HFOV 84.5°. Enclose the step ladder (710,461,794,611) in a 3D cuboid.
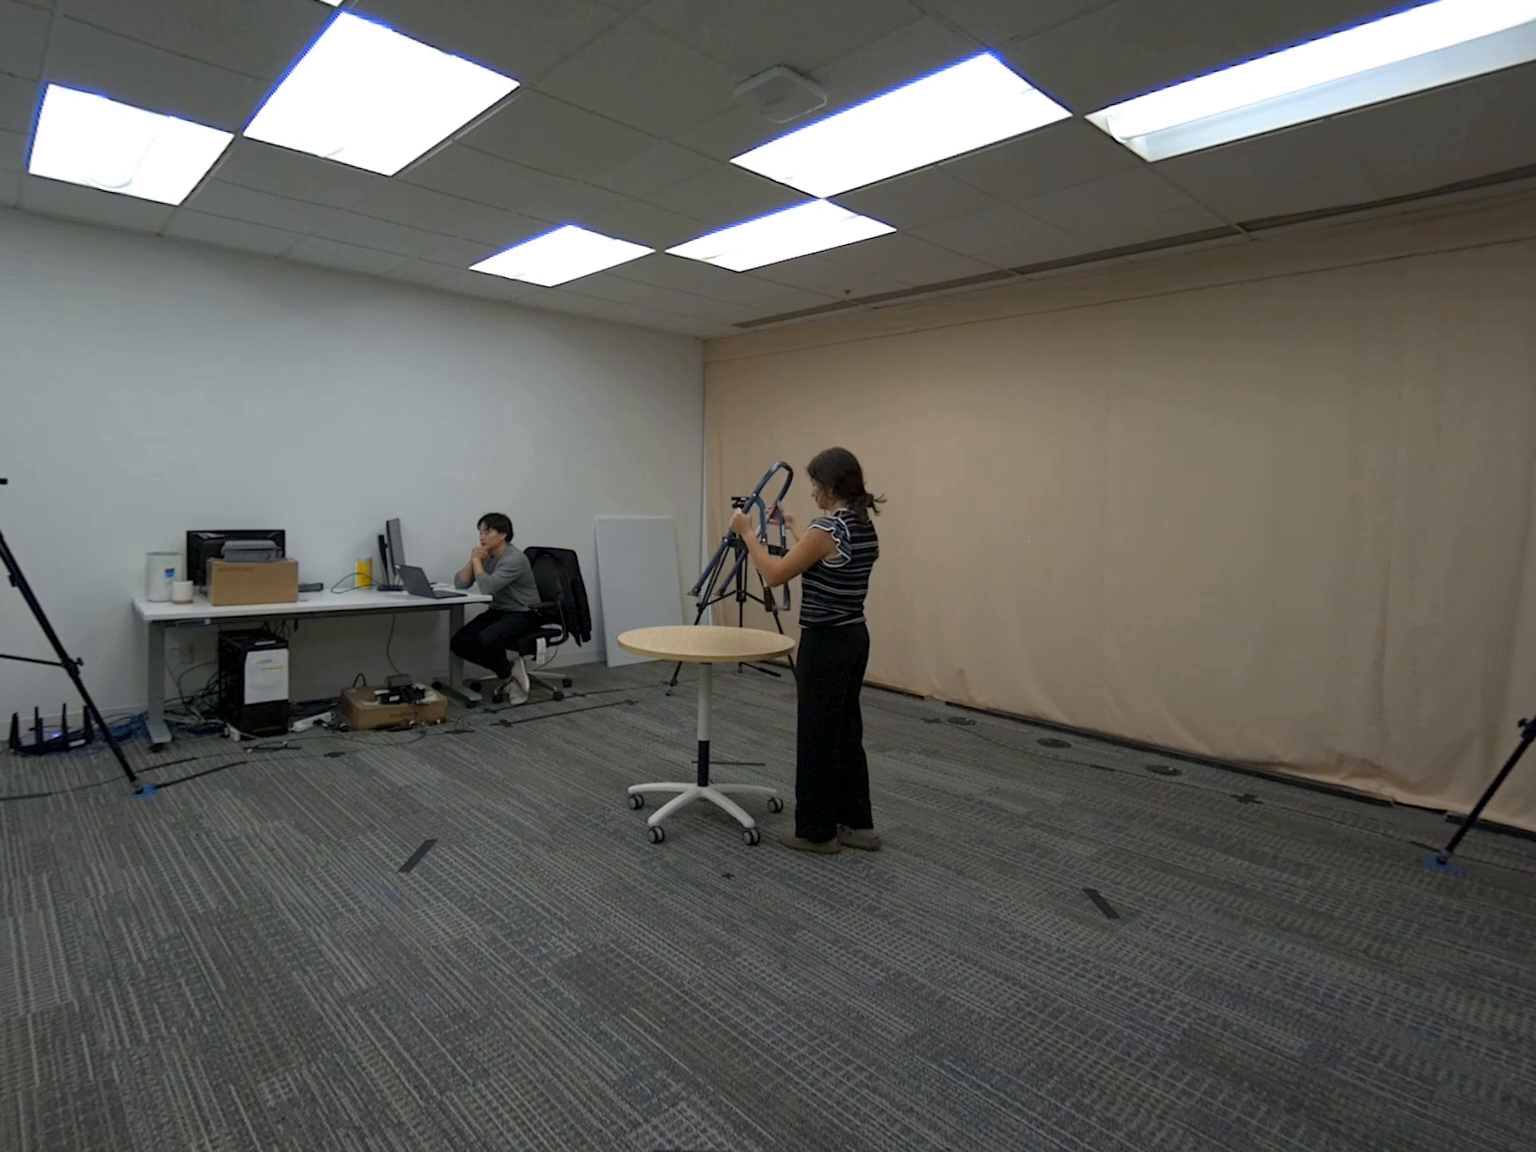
[{"bbox_3d":[-0.058,-0.175,3.510,0.354,0.606,0.425,11,-1,14],"label":"step ladder"}]
